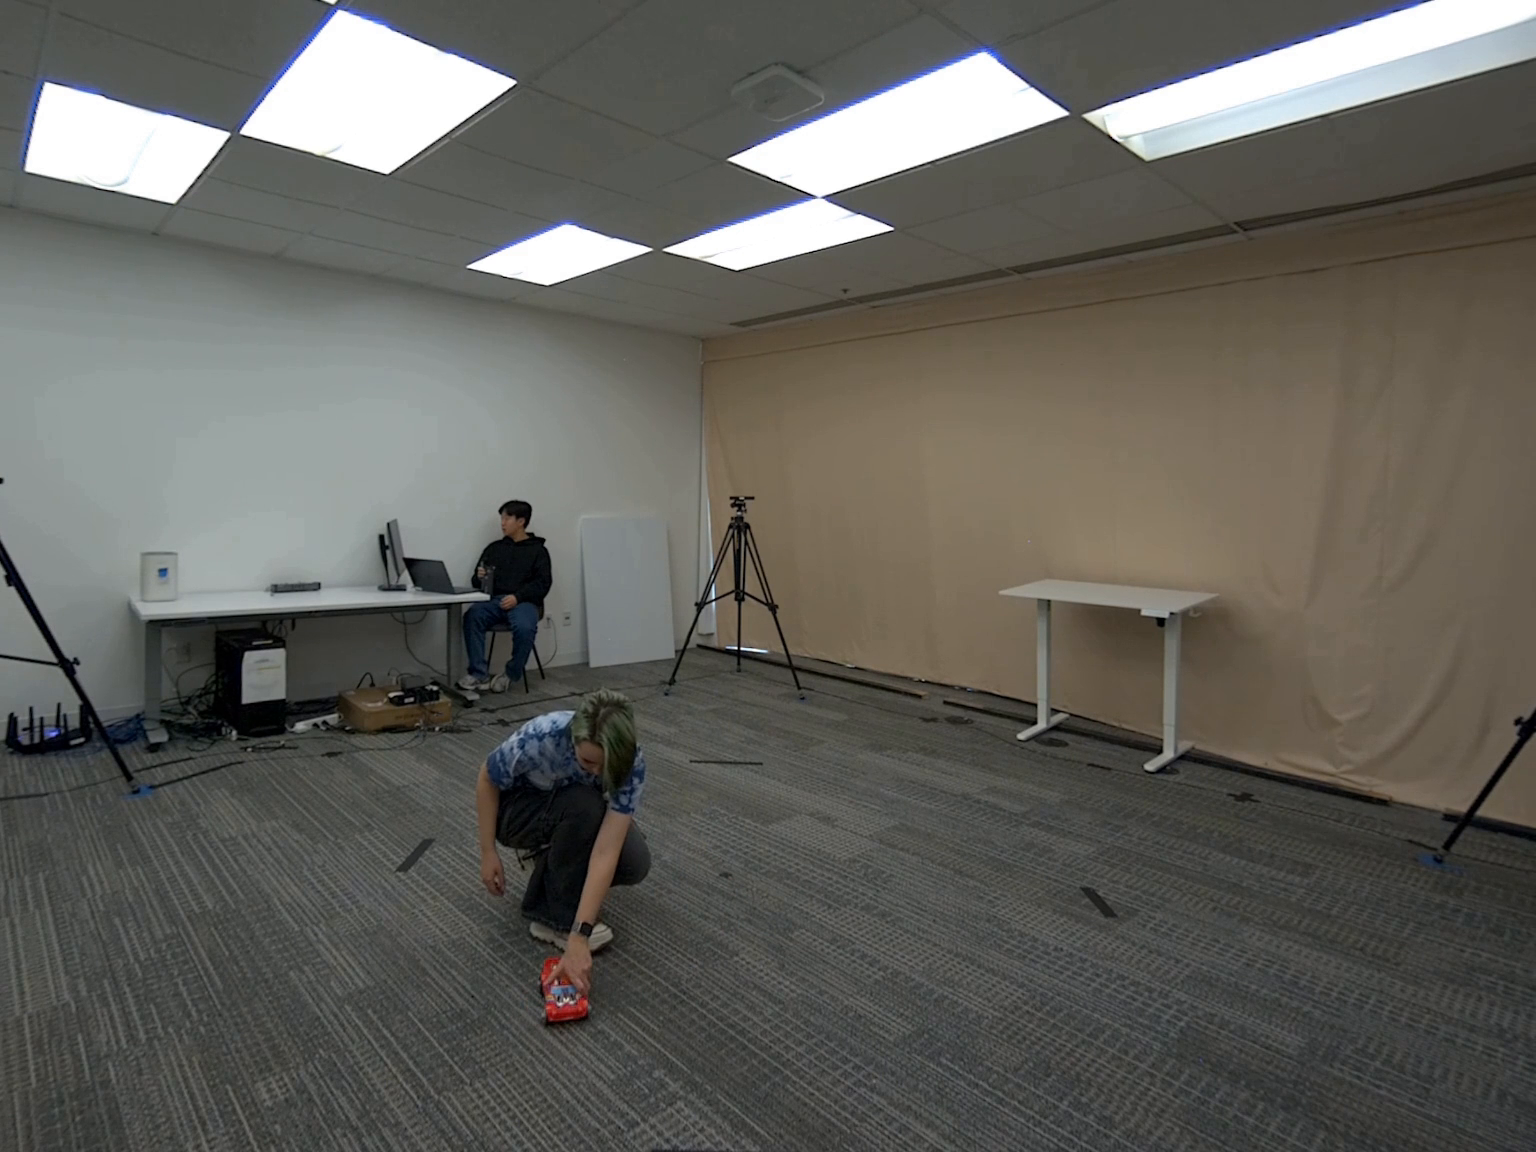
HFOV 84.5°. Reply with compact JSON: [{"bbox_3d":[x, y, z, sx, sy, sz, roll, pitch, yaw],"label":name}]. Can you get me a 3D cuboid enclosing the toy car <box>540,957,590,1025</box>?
[{"bbox_3d":[-0.576,1.139,2.304,0.129,0.082,0.260,0,17,-15],"label":"toy car"}]
